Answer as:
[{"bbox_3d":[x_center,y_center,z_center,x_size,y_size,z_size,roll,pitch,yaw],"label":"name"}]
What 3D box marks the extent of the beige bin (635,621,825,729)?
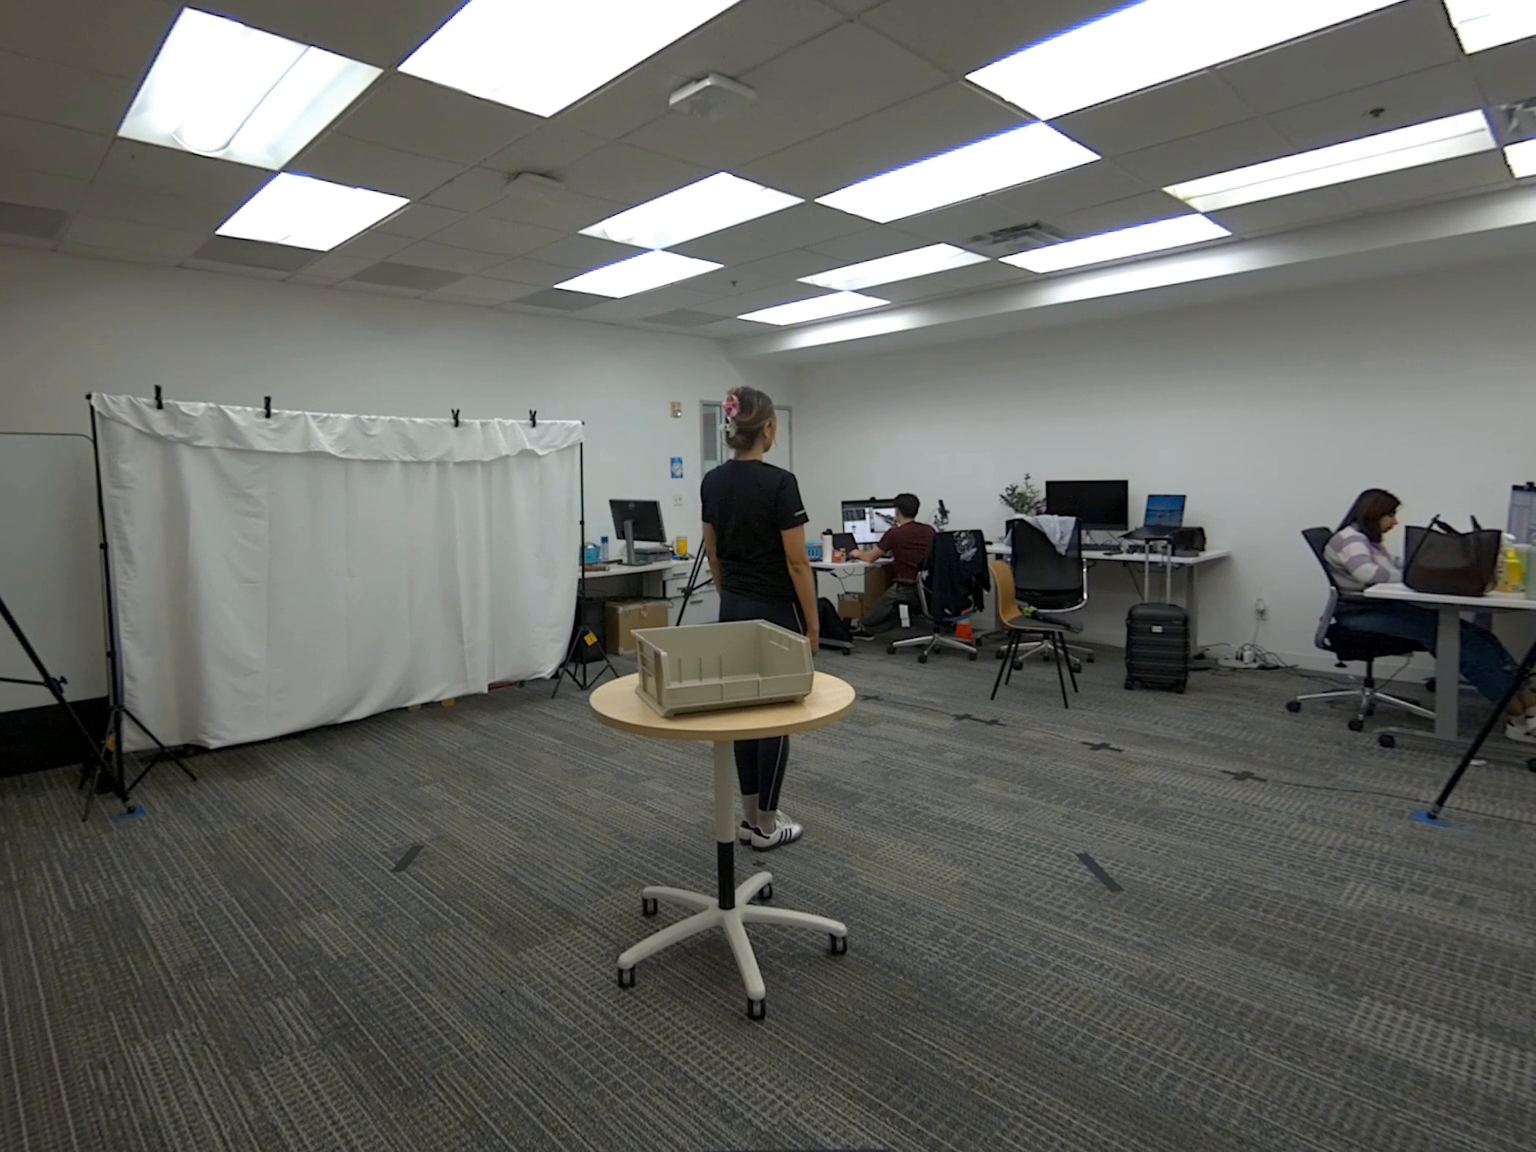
[{"bbox_3d":[-0.120,0.261,2.409,0.415,0.188,0.385,-4,5,-21],"label":"beige bin"}]
